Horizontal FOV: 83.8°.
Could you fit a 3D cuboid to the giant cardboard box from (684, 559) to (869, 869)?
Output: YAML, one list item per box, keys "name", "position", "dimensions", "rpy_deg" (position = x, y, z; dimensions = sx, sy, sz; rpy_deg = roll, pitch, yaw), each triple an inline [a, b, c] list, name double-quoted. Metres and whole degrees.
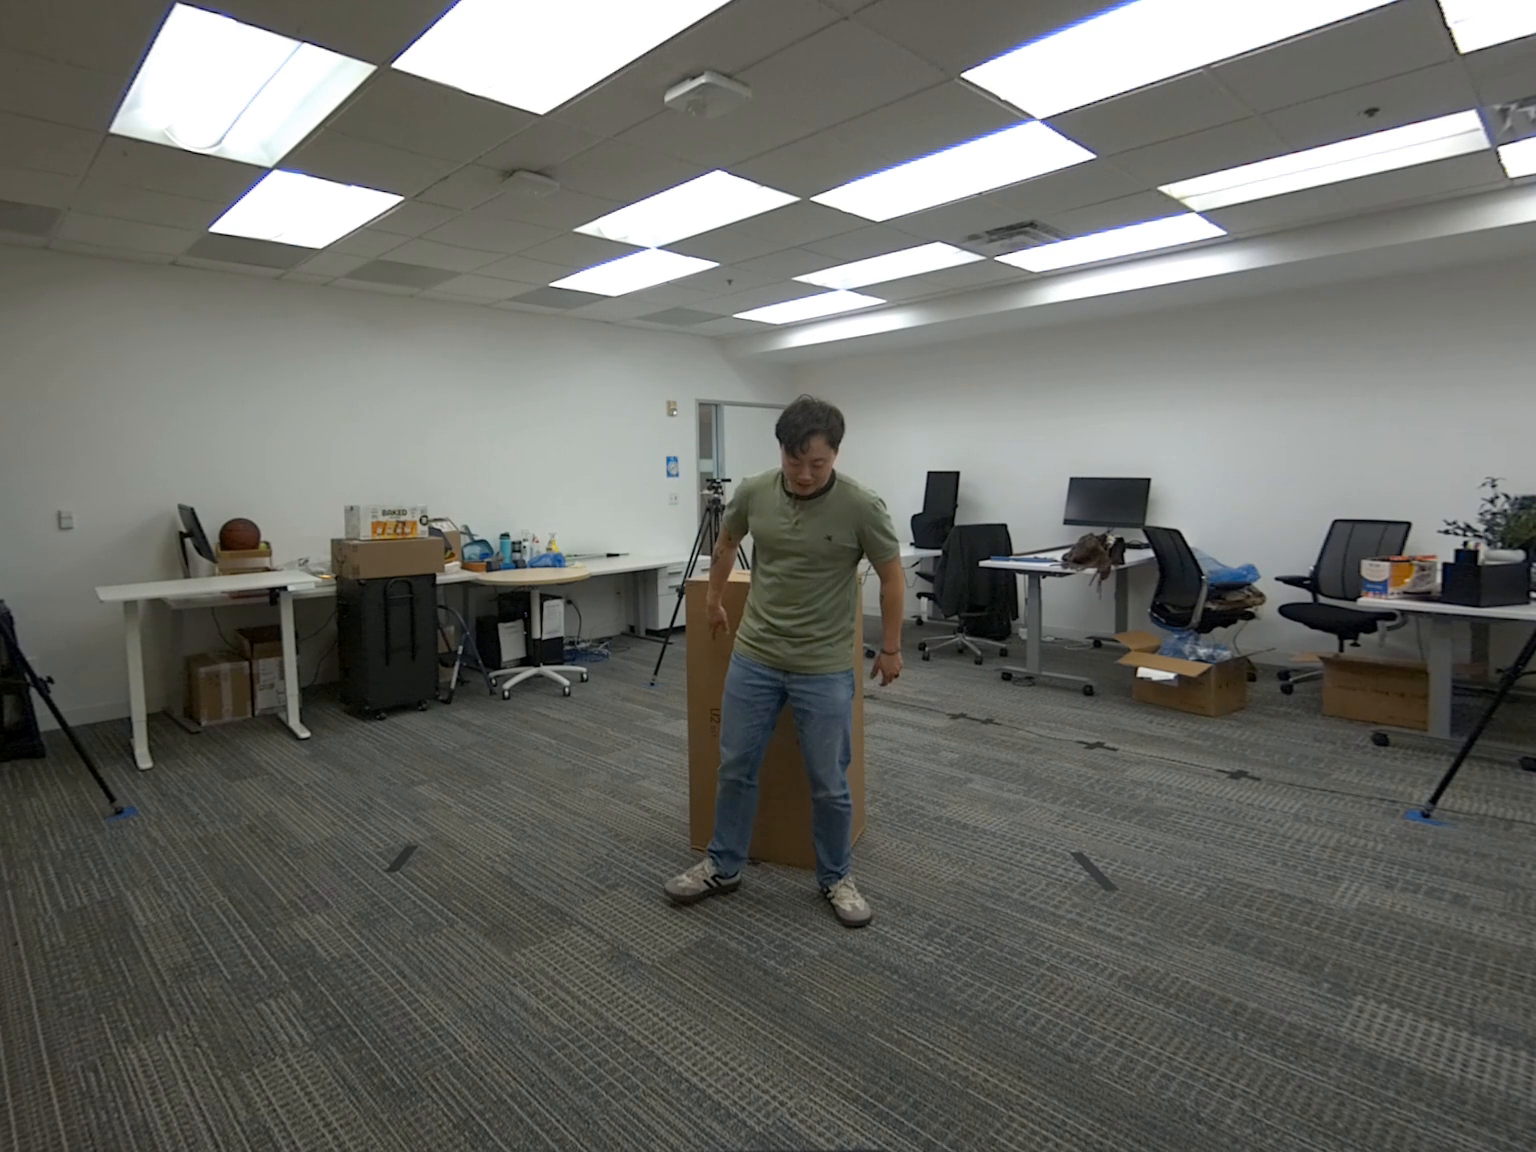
- name: "giant cardboard box"
  position: [0.036, 0.509, 3.291]
  dimensions: [0.590, 1.022, 0.418]
  rpy_deg: [2, 4, 23]
